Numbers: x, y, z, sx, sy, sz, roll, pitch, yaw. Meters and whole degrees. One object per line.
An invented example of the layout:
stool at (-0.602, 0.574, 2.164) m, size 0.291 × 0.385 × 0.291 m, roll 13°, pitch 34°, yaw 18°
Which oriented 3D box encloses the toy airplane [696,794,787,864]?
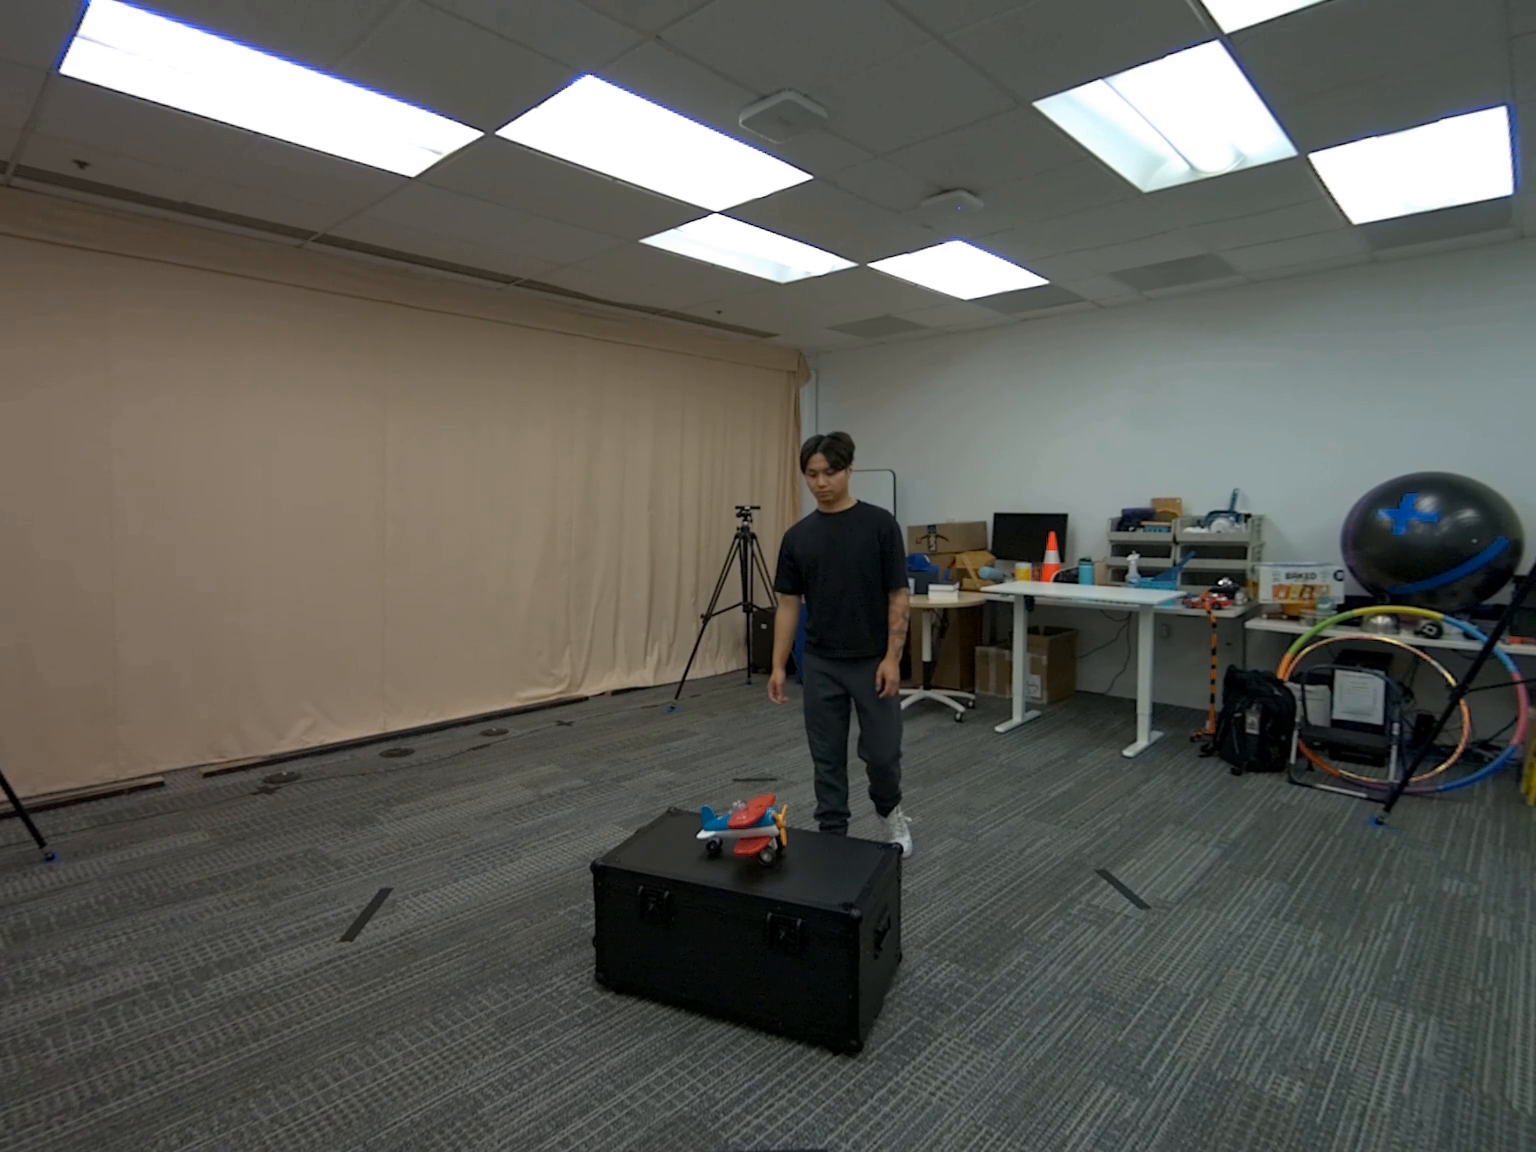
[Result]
toy airplane at (-0.074, 0.740, 2.435) m, size 0.257 × 0.156 × 0.253 m, roll 0°, pitch 4°, yaw -7°
